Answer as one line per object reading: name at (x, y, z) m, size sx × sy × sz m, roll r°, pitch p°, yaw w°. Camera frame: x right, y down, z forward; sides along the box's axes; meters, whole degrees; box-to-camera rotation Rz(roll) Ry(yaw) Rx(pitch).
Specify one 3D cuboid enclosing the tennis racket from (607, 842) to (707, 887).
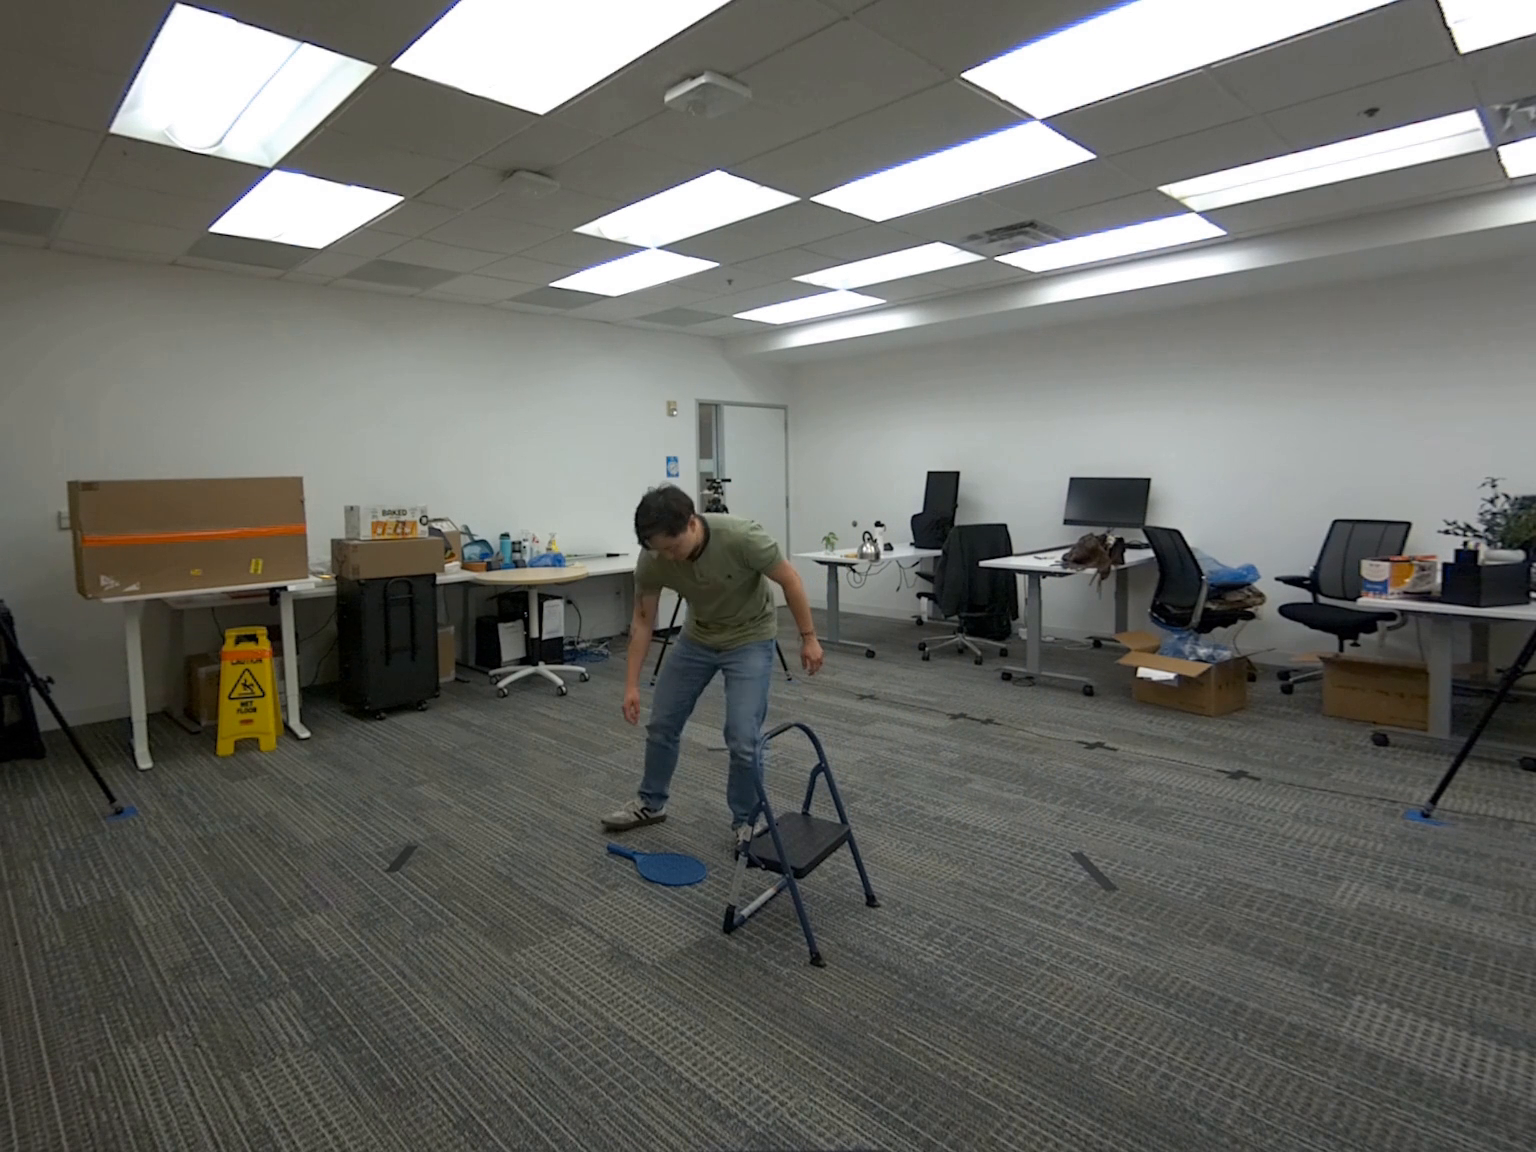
tennis racket at (-0.410, 1.036, 3.098) m, size 0.445 × 0.031 × 0.209 m, roll 5°, pitch 8°, yaw 33°
